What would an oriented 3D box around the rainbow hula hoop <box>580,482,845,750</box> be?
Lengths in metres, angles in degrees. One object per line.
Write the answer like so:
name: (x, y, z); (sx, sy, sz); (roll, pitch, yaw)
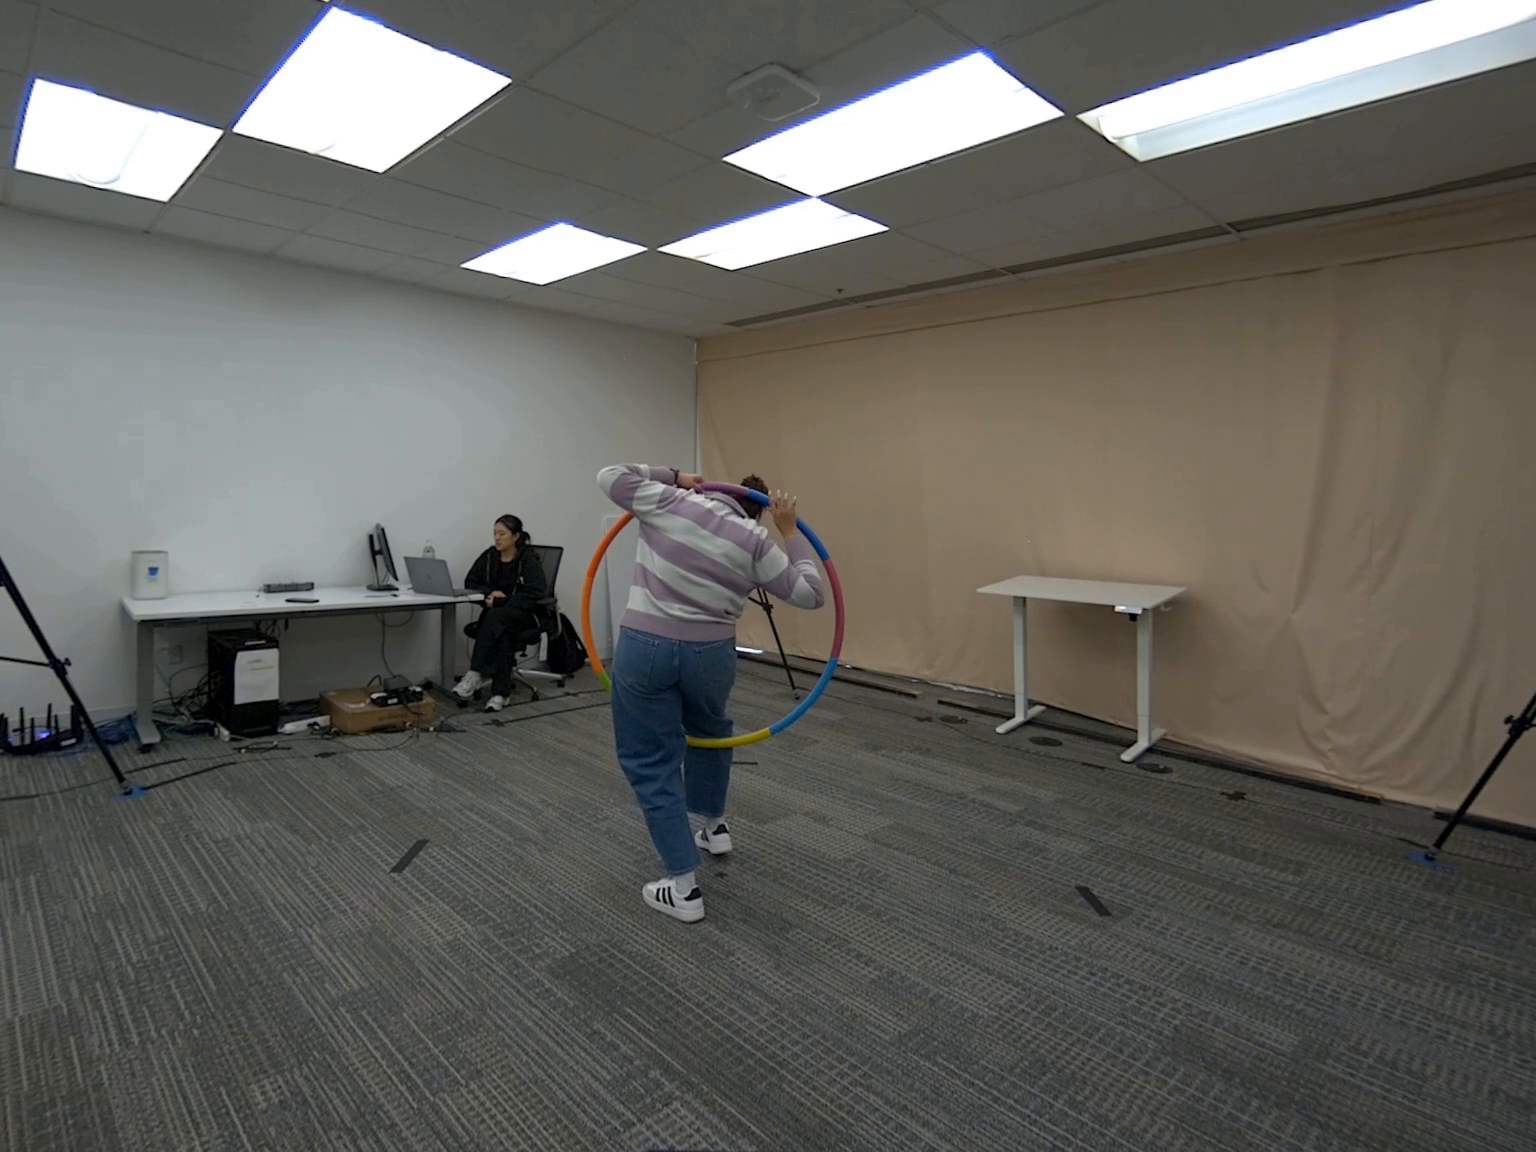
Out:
rainbow hula hoop: (-0.218, 0.140, 3.101); (0.991, 0.982, 0.051); (2, 5, 7)
